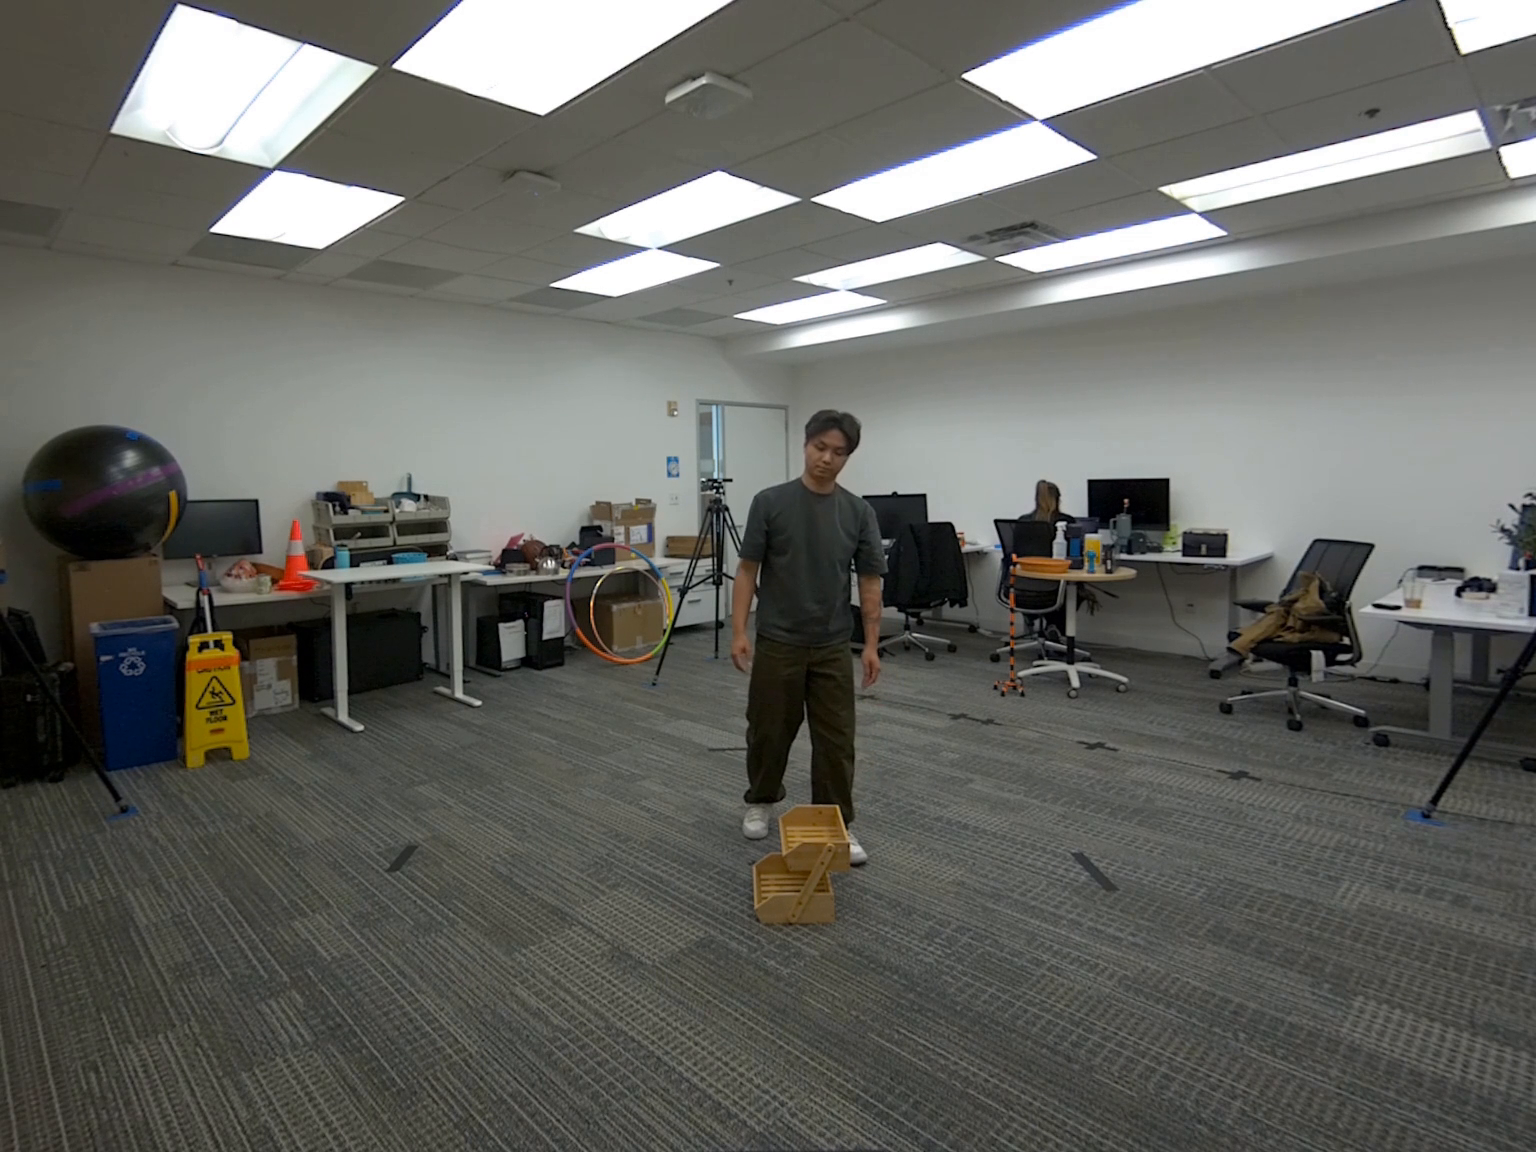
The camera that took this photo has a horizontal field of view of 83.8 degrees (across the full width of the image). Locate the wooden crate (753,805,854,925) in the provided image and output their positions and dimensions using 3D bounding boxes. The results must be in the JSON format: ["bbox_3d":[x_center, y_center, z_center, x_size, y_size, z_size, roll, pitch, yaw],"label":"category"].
[{"bbox_3d":[0.096,0.944,2.817,0.302,0.272,0.326,-1,6,-2],"label":"wooden crate"}]
